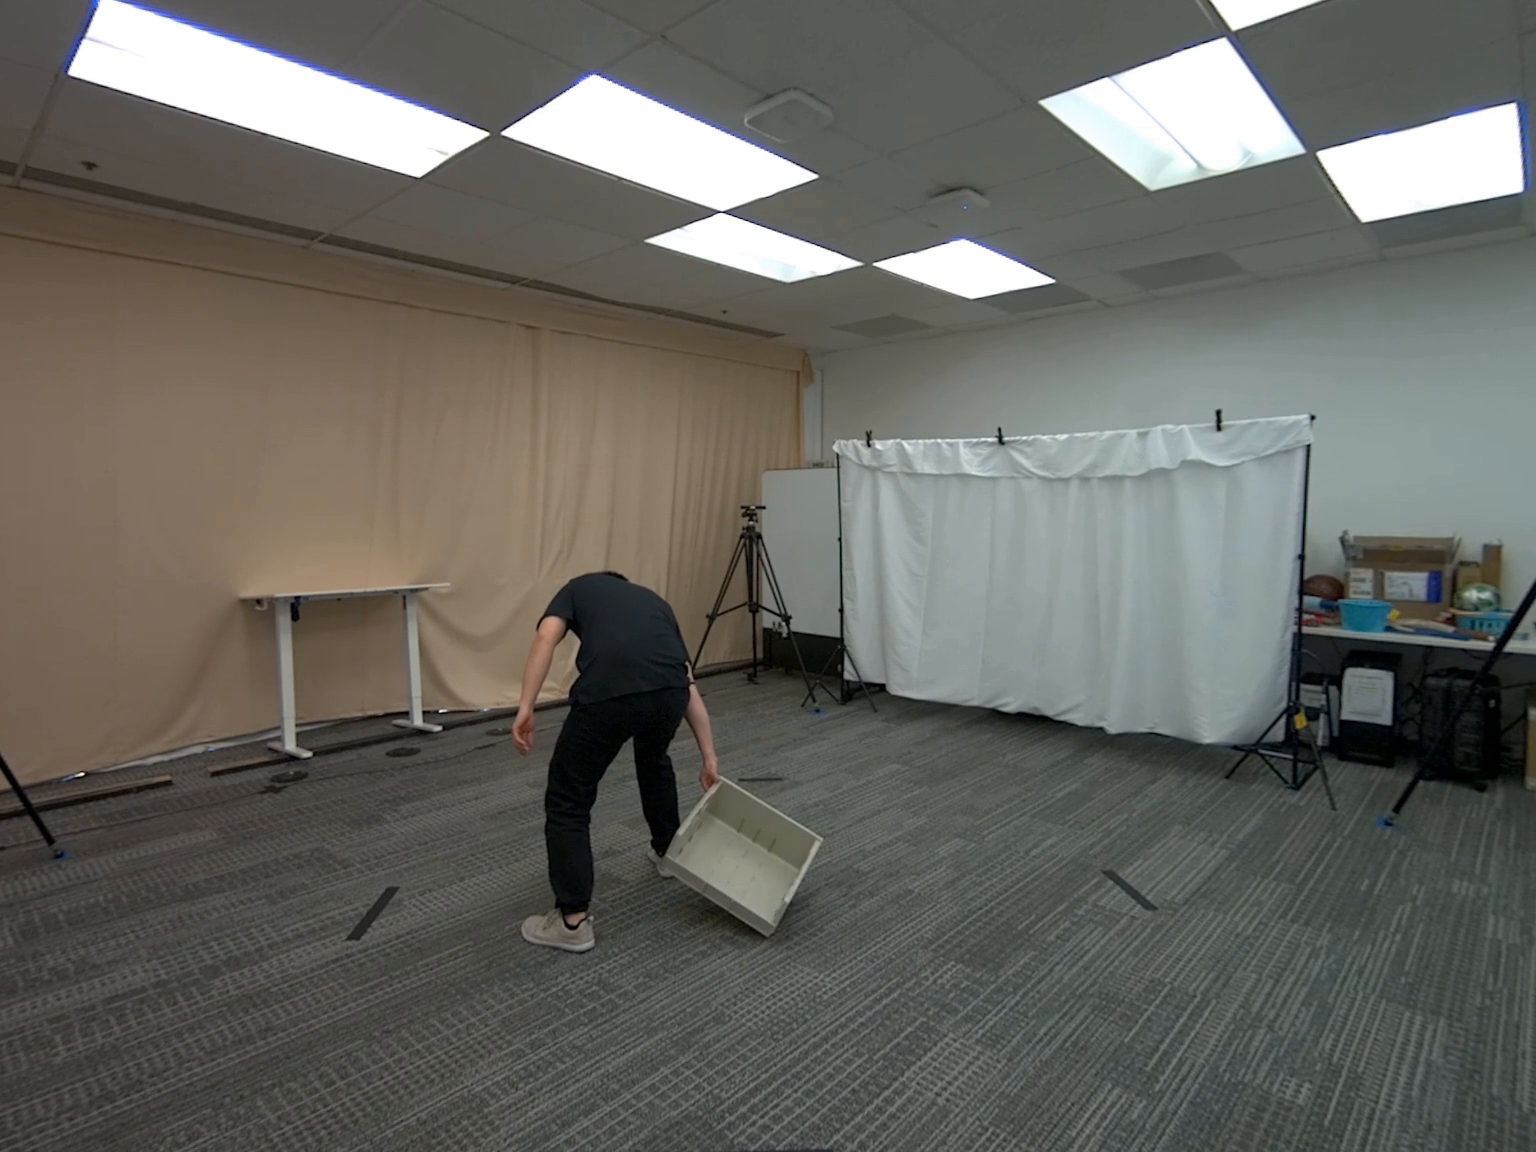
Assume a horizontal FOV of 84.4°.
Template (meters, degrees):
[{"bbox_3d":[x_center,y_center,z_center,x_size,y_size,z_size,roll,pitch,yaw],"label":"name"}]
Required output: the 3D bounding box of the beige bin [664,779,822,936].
[{"bbox_3d":[-0.083,0.957,2.868,0.430,0.188,0.372,27,25,14],"label":"beige bin"}]
